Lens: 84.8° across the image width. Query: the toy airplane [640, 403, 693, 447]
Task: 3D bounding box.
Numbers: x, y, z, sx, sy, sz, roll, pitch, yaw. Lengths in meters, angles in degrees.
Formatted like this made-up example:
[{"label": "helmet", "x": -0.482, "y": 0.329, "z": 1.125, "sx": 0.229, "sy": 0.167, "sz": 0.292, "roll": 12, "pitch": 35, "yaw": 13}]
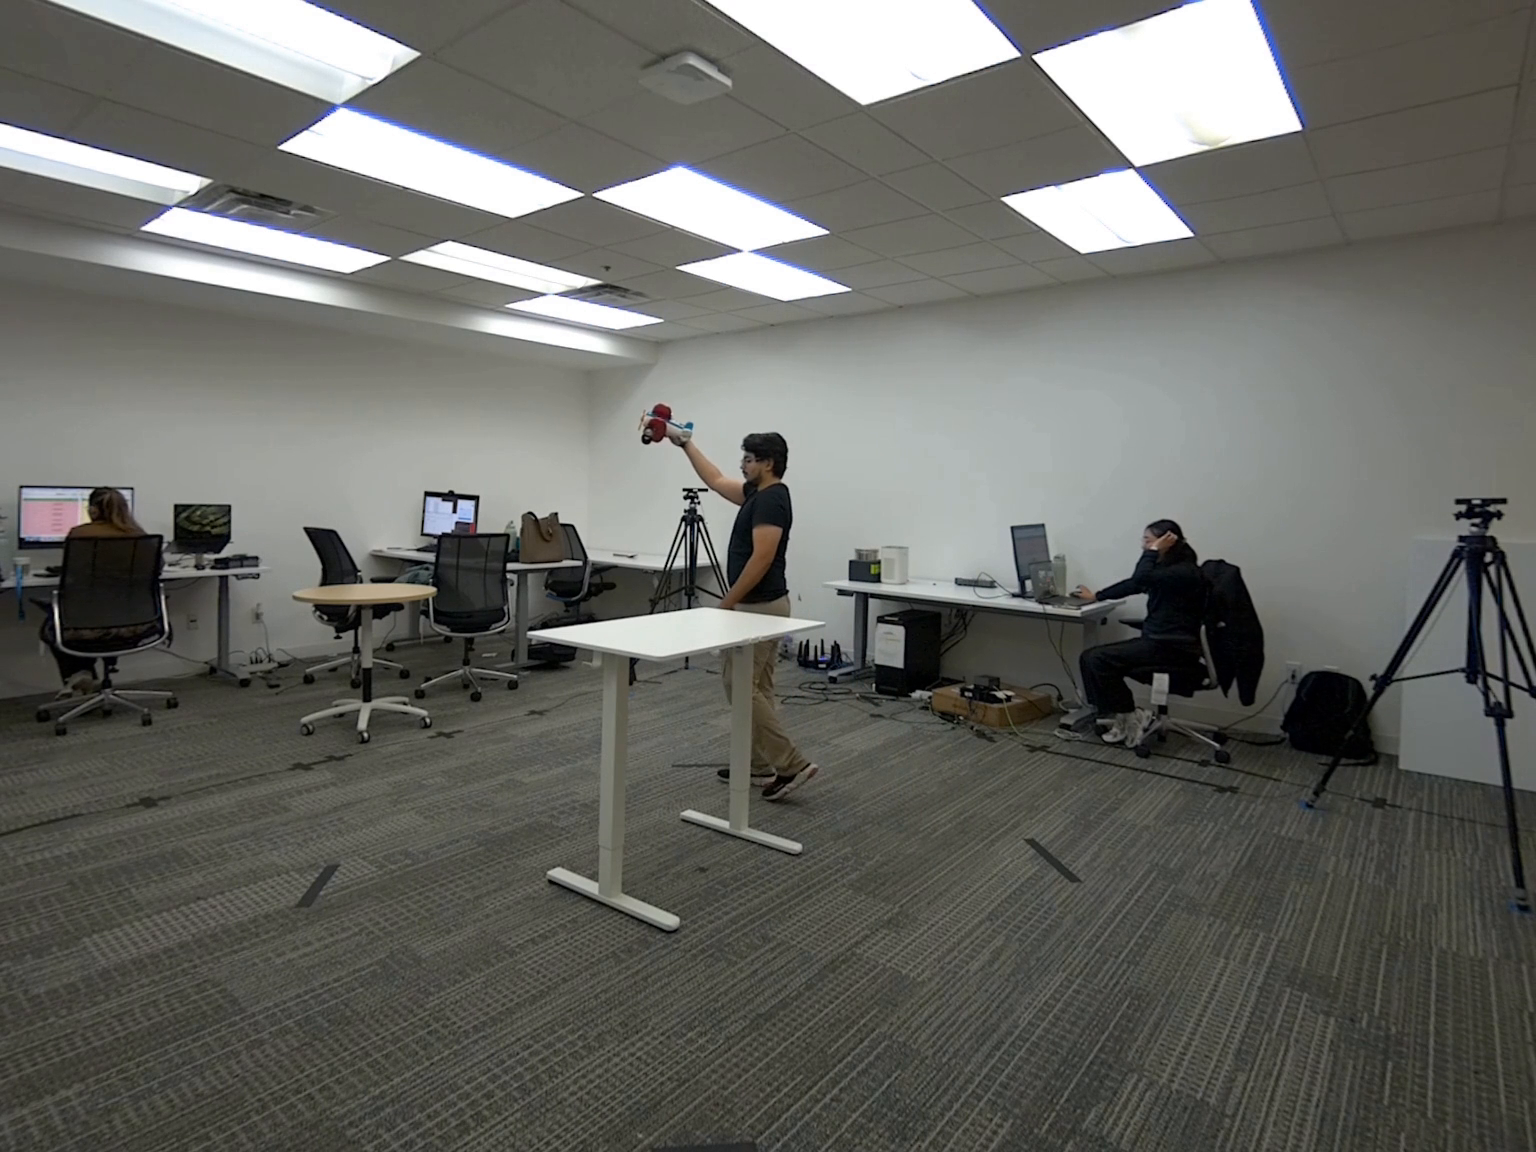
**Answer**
[{"label": "toy airplane", "x": -0.523, "y": -0.726, "z": 4.180, "sx": 0.250, "sy": 0.159, "sz": 0.257, "roll": 18, "pitch": -21, "yaw": -37}]
